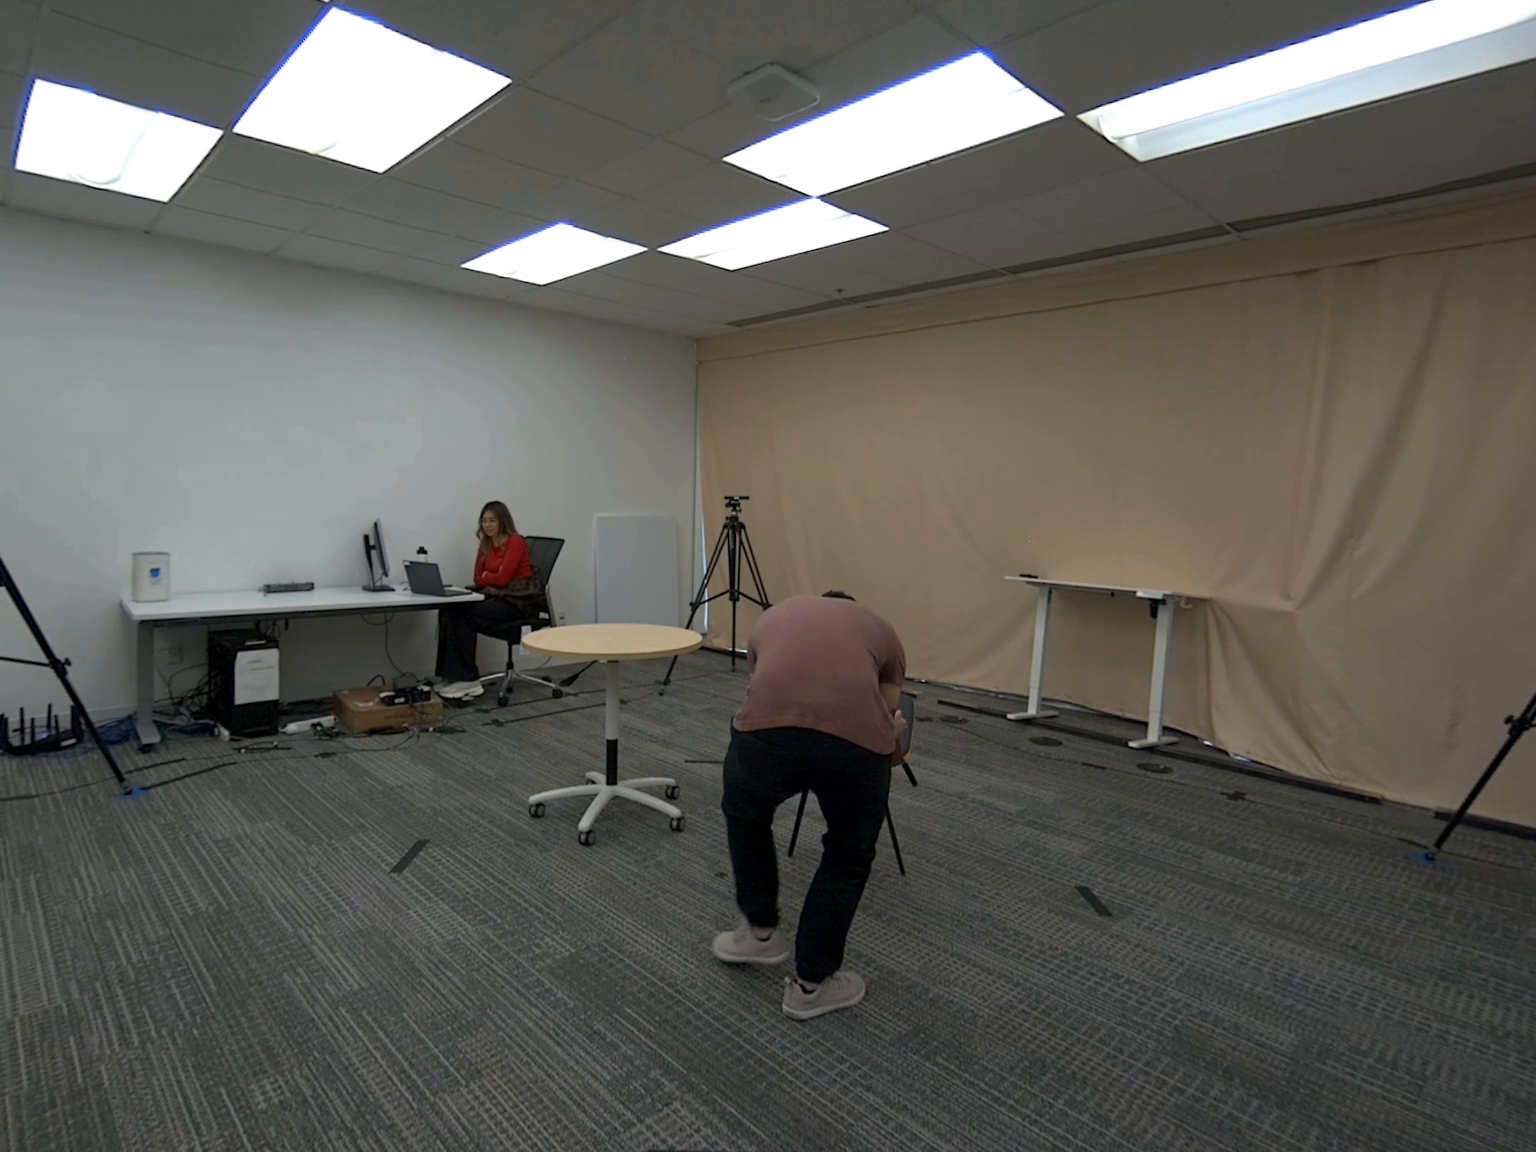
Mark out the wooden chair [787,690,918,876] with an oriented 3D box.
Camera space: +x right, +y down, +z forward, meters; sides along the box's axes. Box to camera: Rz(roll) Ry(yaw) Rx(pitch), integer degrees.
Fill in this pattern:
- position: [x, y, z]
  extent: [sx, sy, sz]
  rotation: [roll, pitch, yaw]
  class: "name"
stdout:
- position: [0.315, 0.627, 3.186]
  extent: [0.485, 0.857, 0.528]
  rotation: [4, 37, 17]
  class: "wooden chair"
